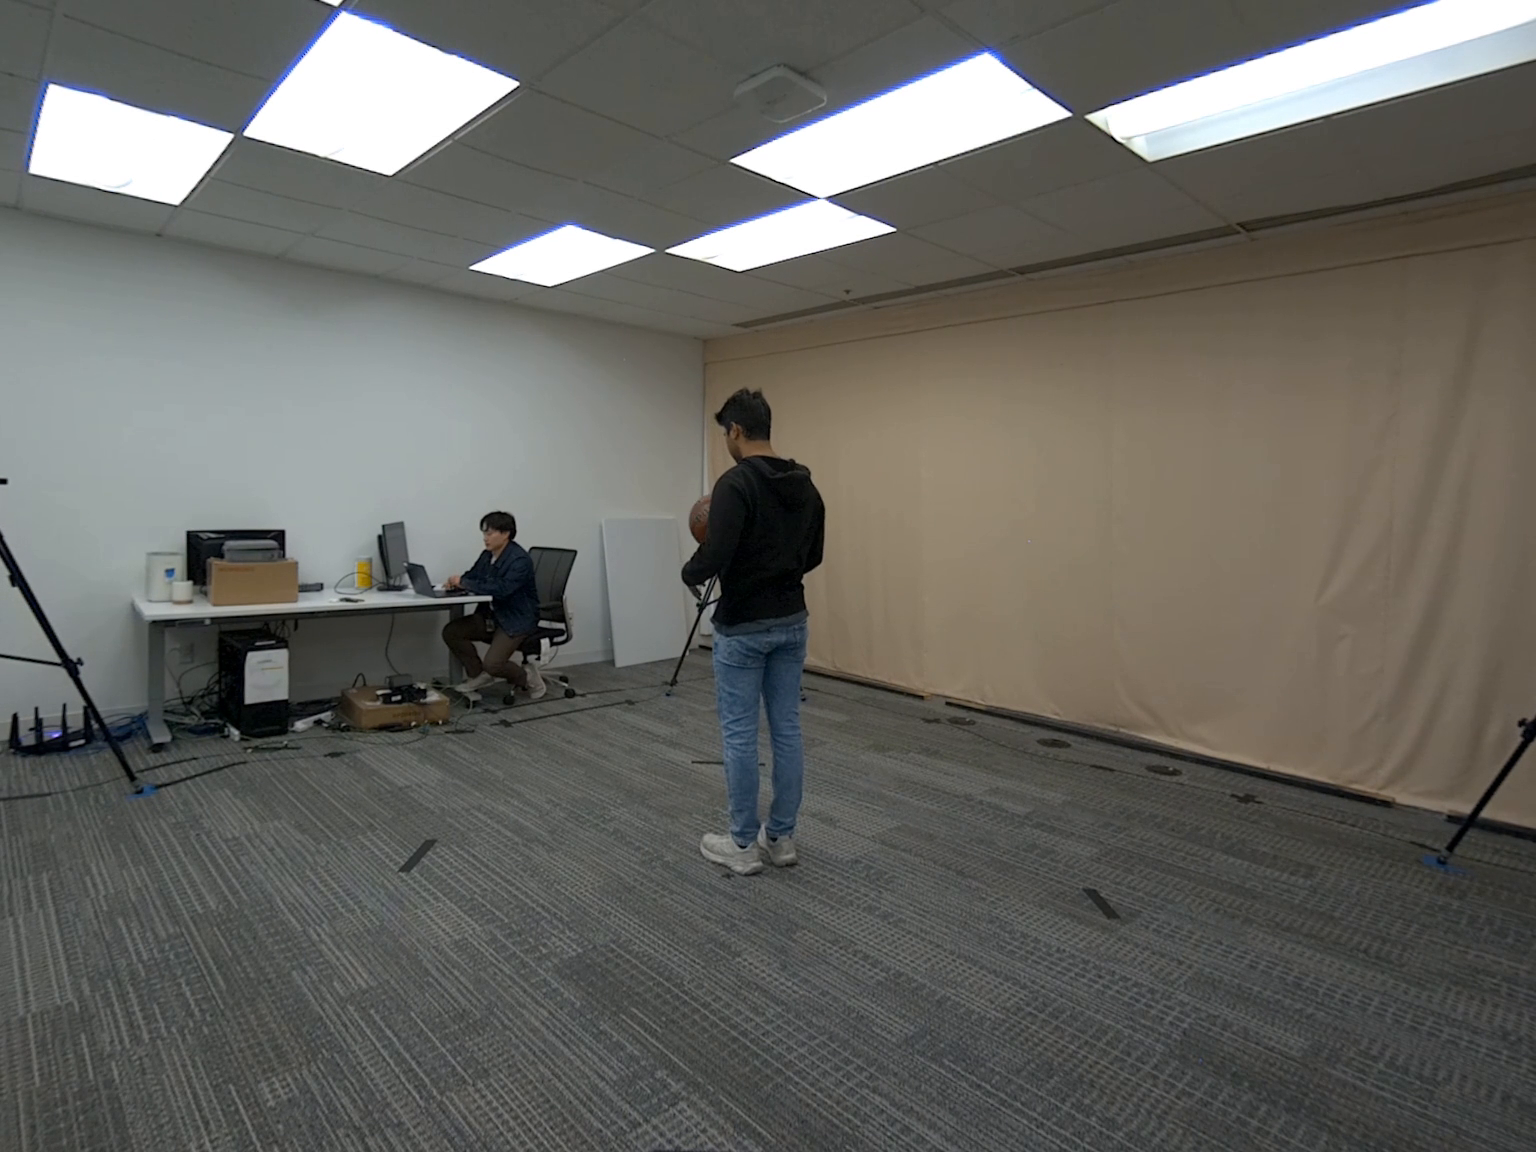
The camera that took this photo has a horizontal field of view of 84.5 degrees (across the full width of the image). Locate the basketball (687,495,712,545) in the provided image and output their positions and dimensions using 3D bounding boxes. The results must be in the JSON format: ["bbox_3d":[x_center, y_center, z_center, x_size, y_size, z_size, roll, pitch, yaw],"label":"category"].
[{"bbox_3d":[-0.206,-0.192,3.441,0.236,0.235,0.237,1,4,-1],"label":"basketball"}]
